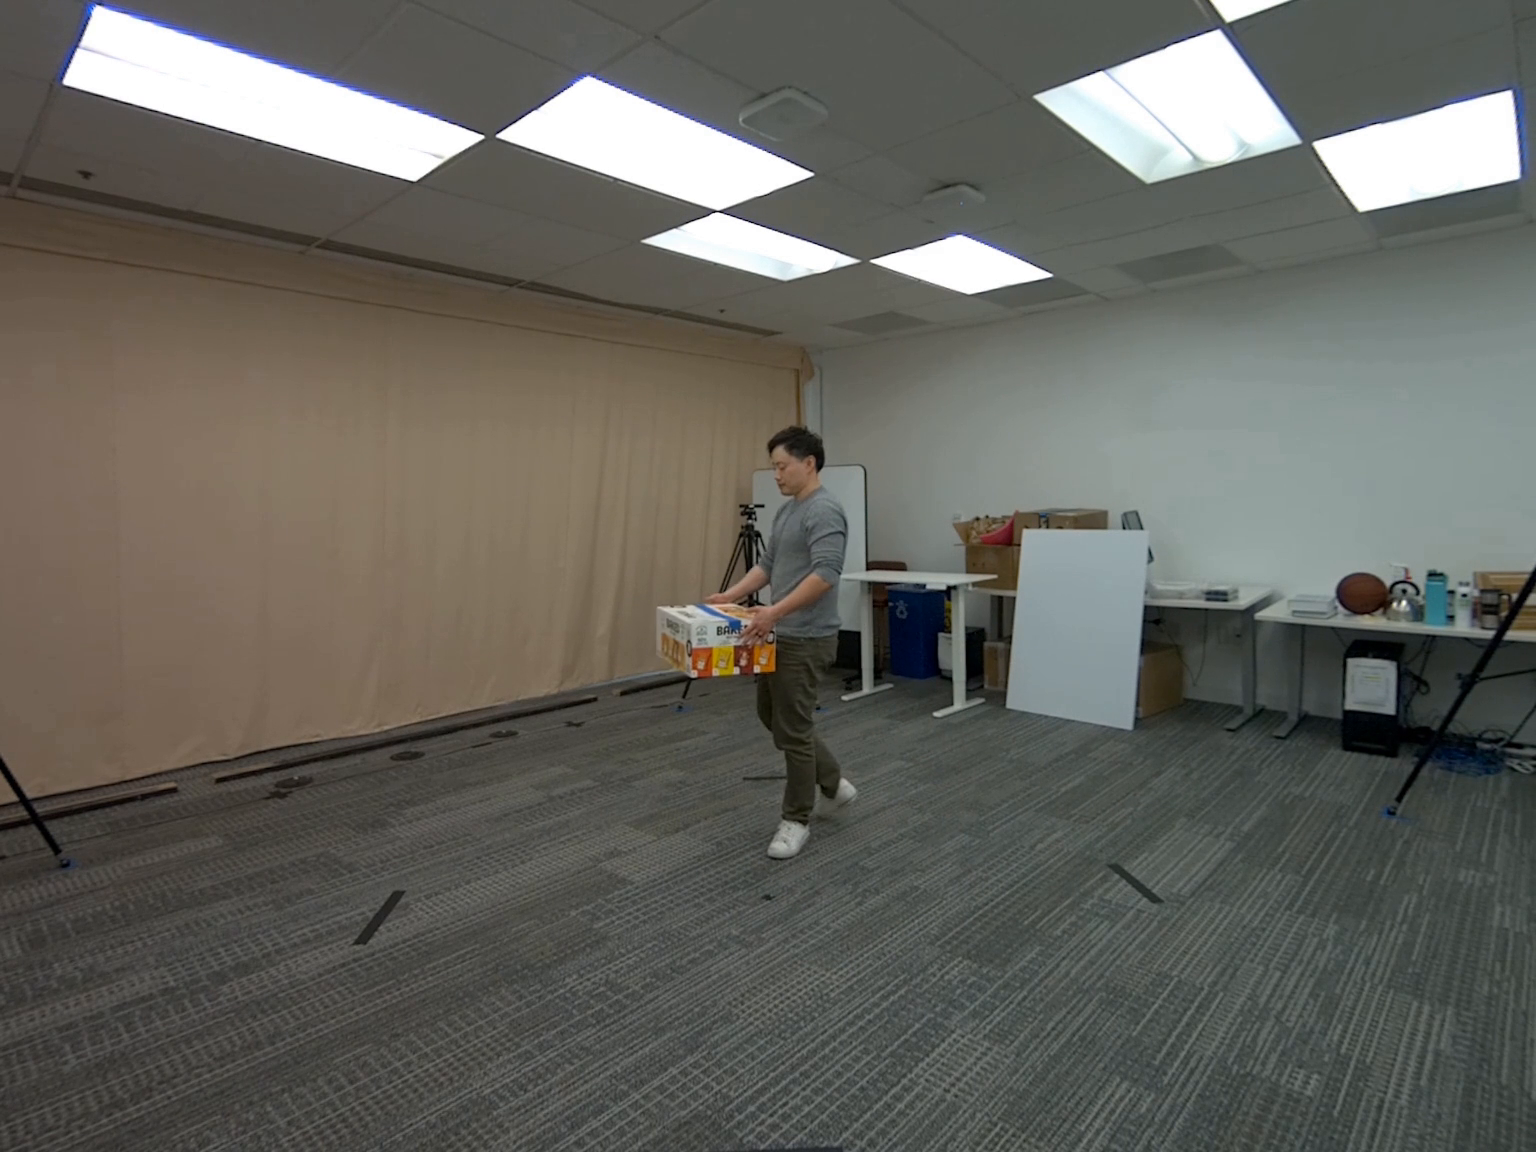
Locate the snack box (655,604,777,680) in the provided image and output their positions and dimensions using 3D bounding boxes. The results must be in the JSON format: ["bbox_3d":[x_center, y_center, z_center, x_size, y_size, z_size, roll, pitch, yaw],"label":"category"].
[{"bbox_3d":[-0.212,0.241,3.289,0.332,0.205,0.416,-1,7,-24],"label":"snack box"}]
